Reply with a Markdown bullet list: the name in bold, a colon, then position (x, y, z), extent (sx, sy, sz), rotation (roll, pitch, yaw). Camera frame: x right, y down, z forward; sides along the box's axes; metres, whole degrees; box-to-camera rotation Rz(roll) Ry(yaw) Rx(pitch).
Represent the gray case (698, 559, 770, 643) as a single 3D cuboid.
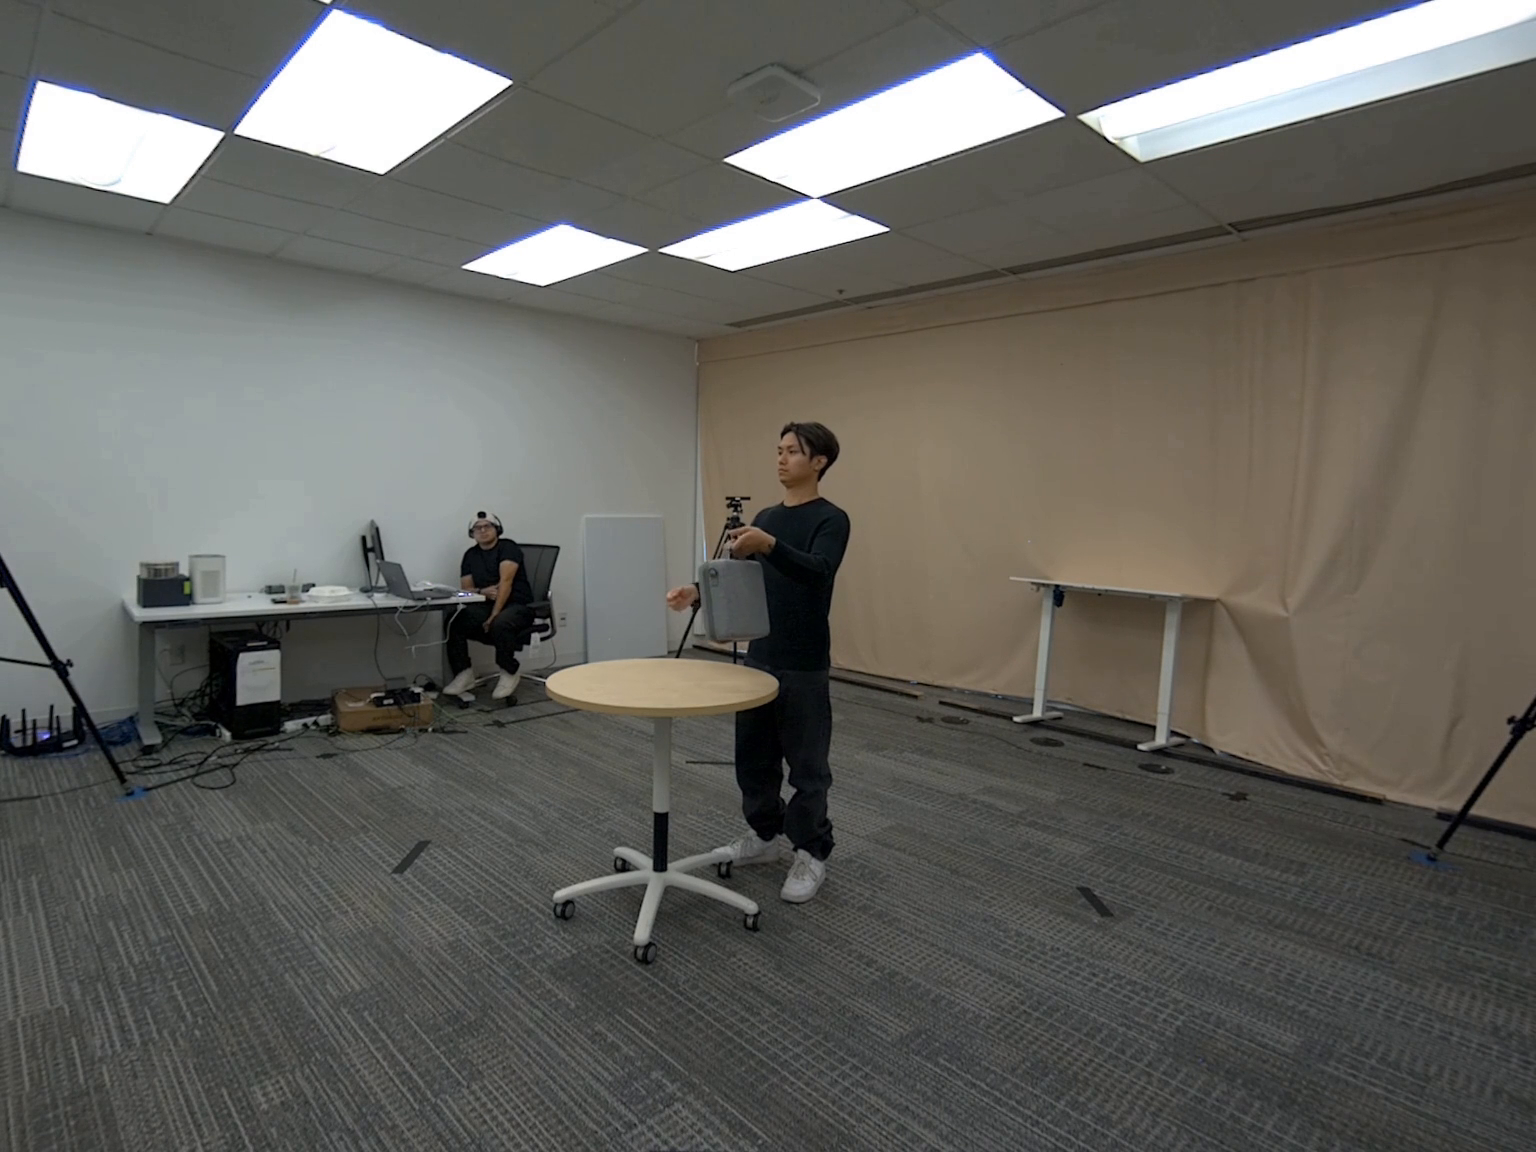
- **gray case**: position (-0.113, 0.078, 2.648), extent (0.106, 0.262, 0.251), rotation (-7, -6, 30)
